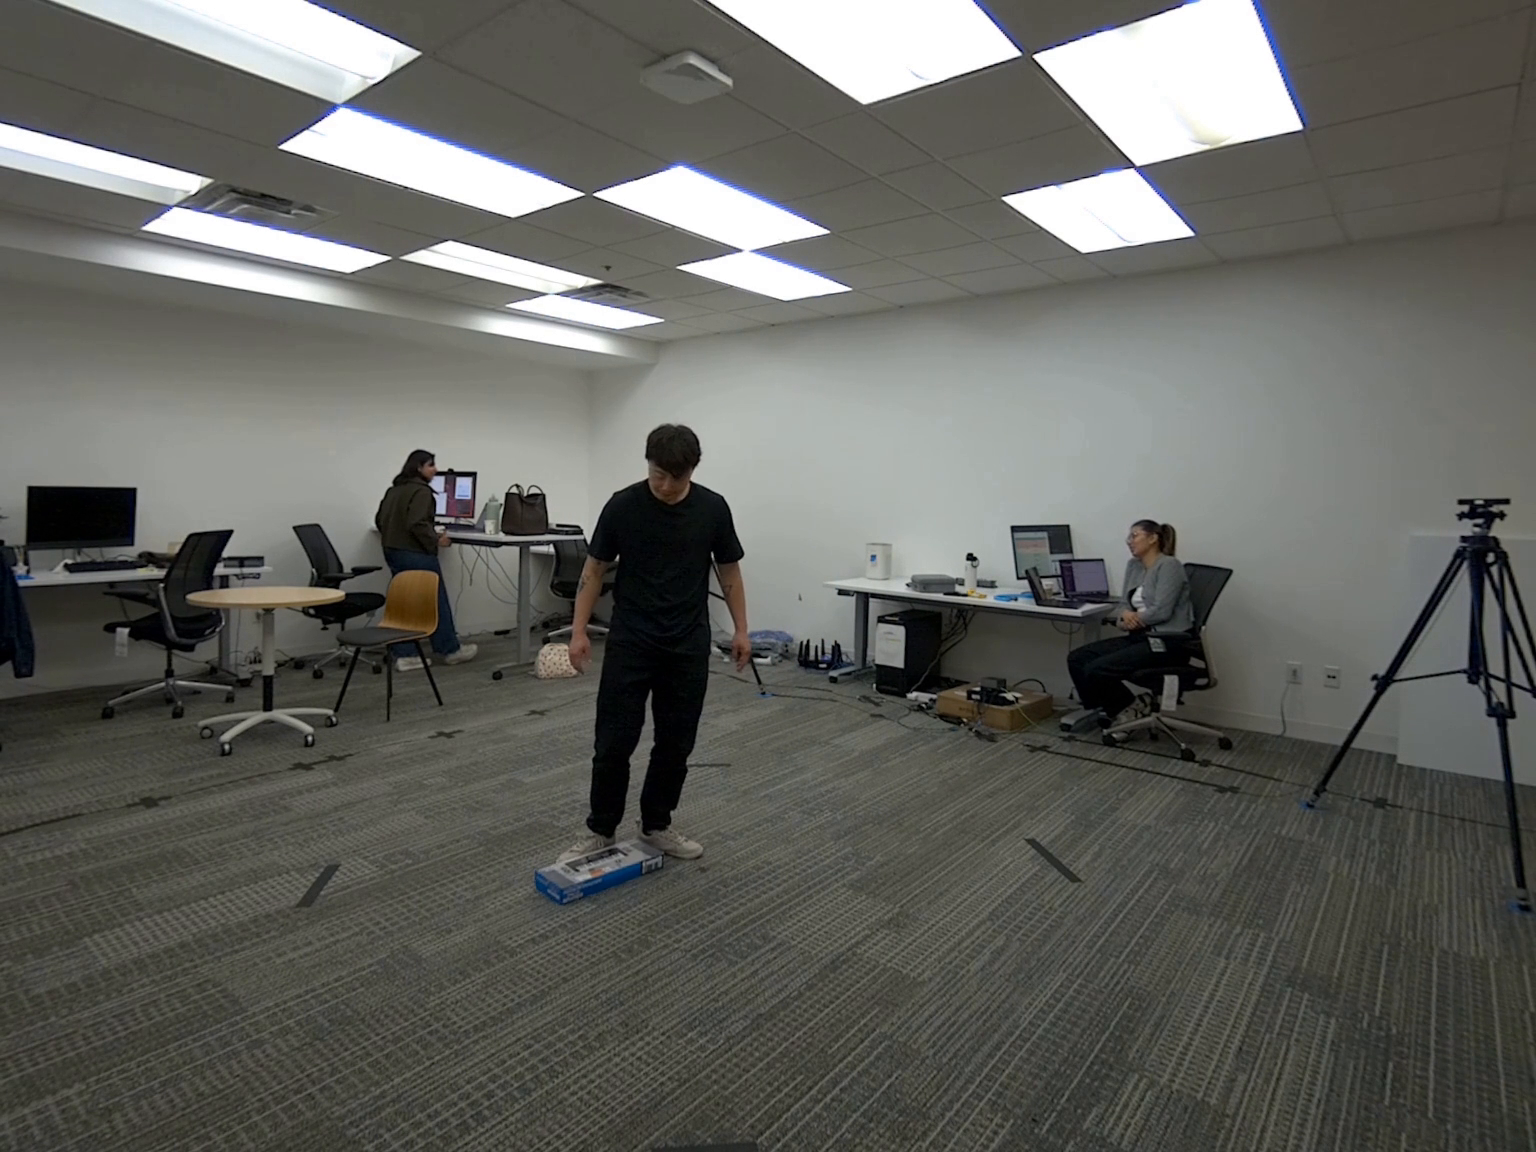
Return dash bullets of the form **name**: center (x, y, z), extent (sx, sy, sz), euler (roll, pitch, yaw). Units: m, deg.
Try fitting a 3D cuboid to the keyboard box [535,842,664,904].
- **keyboard box**: center (-0.593, 1.044, 3.011), extent (0.423, 0.059, 0.182), euler (-4, 8, -44)
